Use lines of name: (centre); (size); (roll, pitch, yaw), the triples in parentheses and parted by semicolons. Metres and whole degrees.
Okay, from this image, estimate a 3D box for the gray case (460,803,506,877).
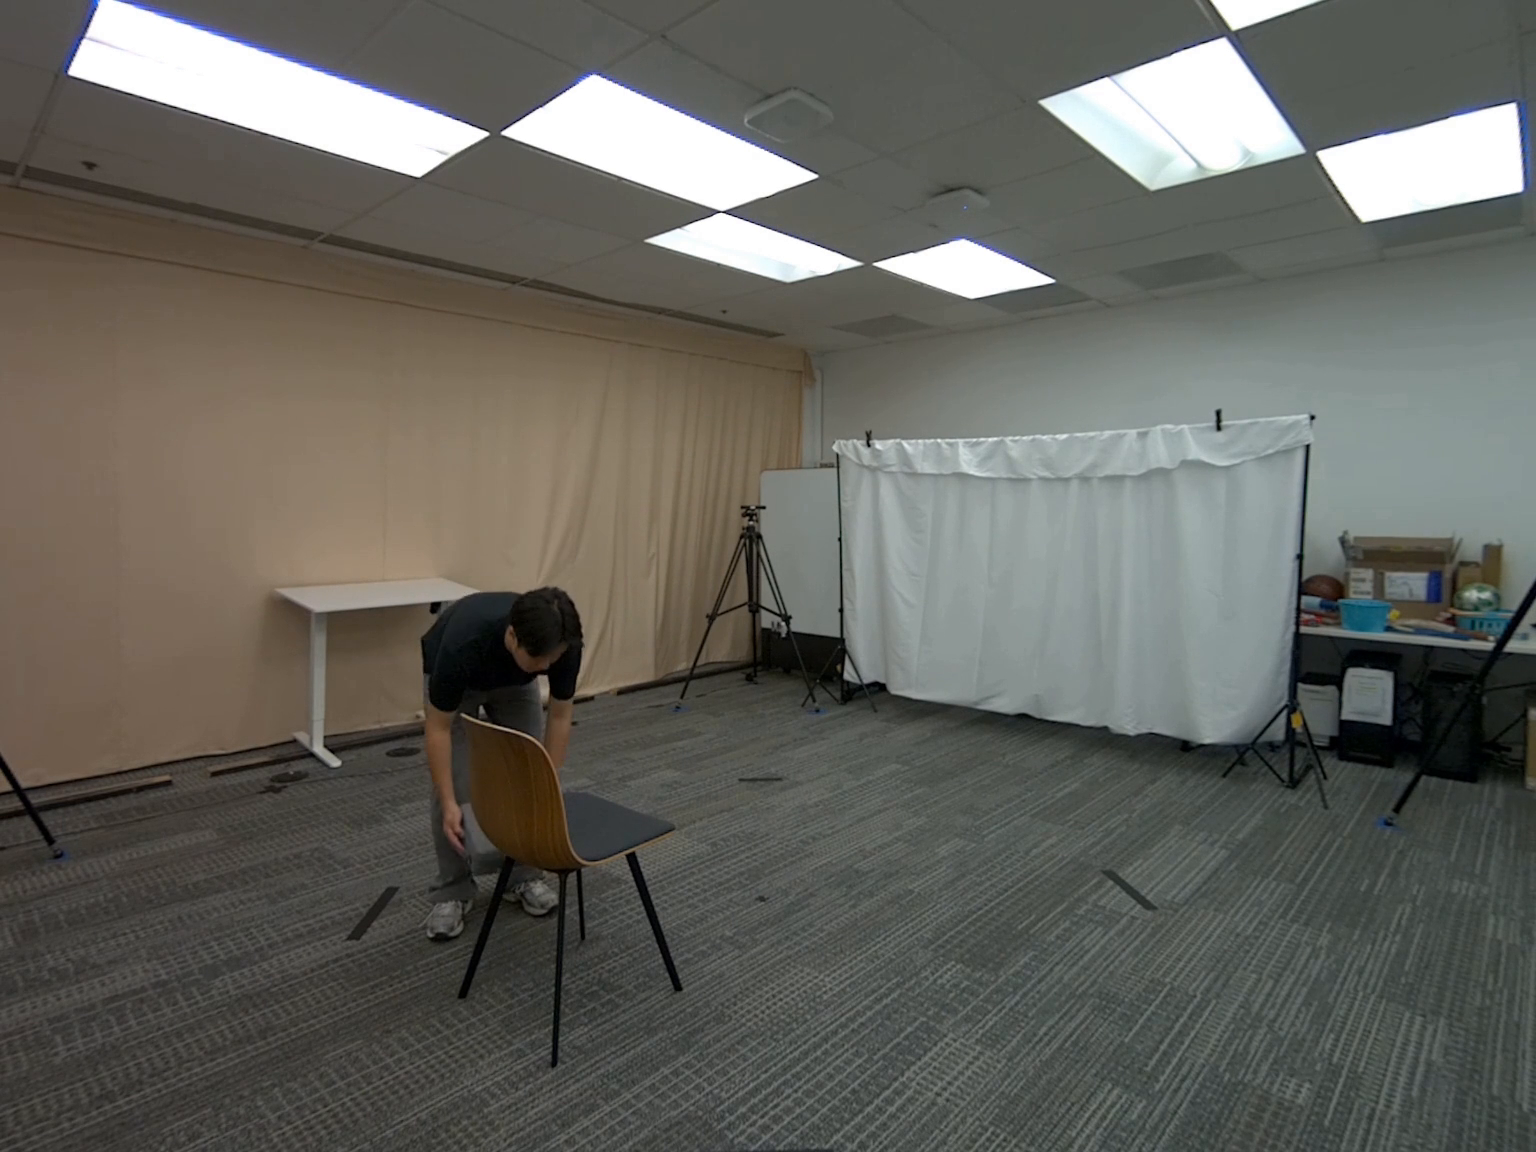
gray case: (-0.818, 0.816, 2.684); (0.255, 0.102, 0.297); (2, 23, -34)
